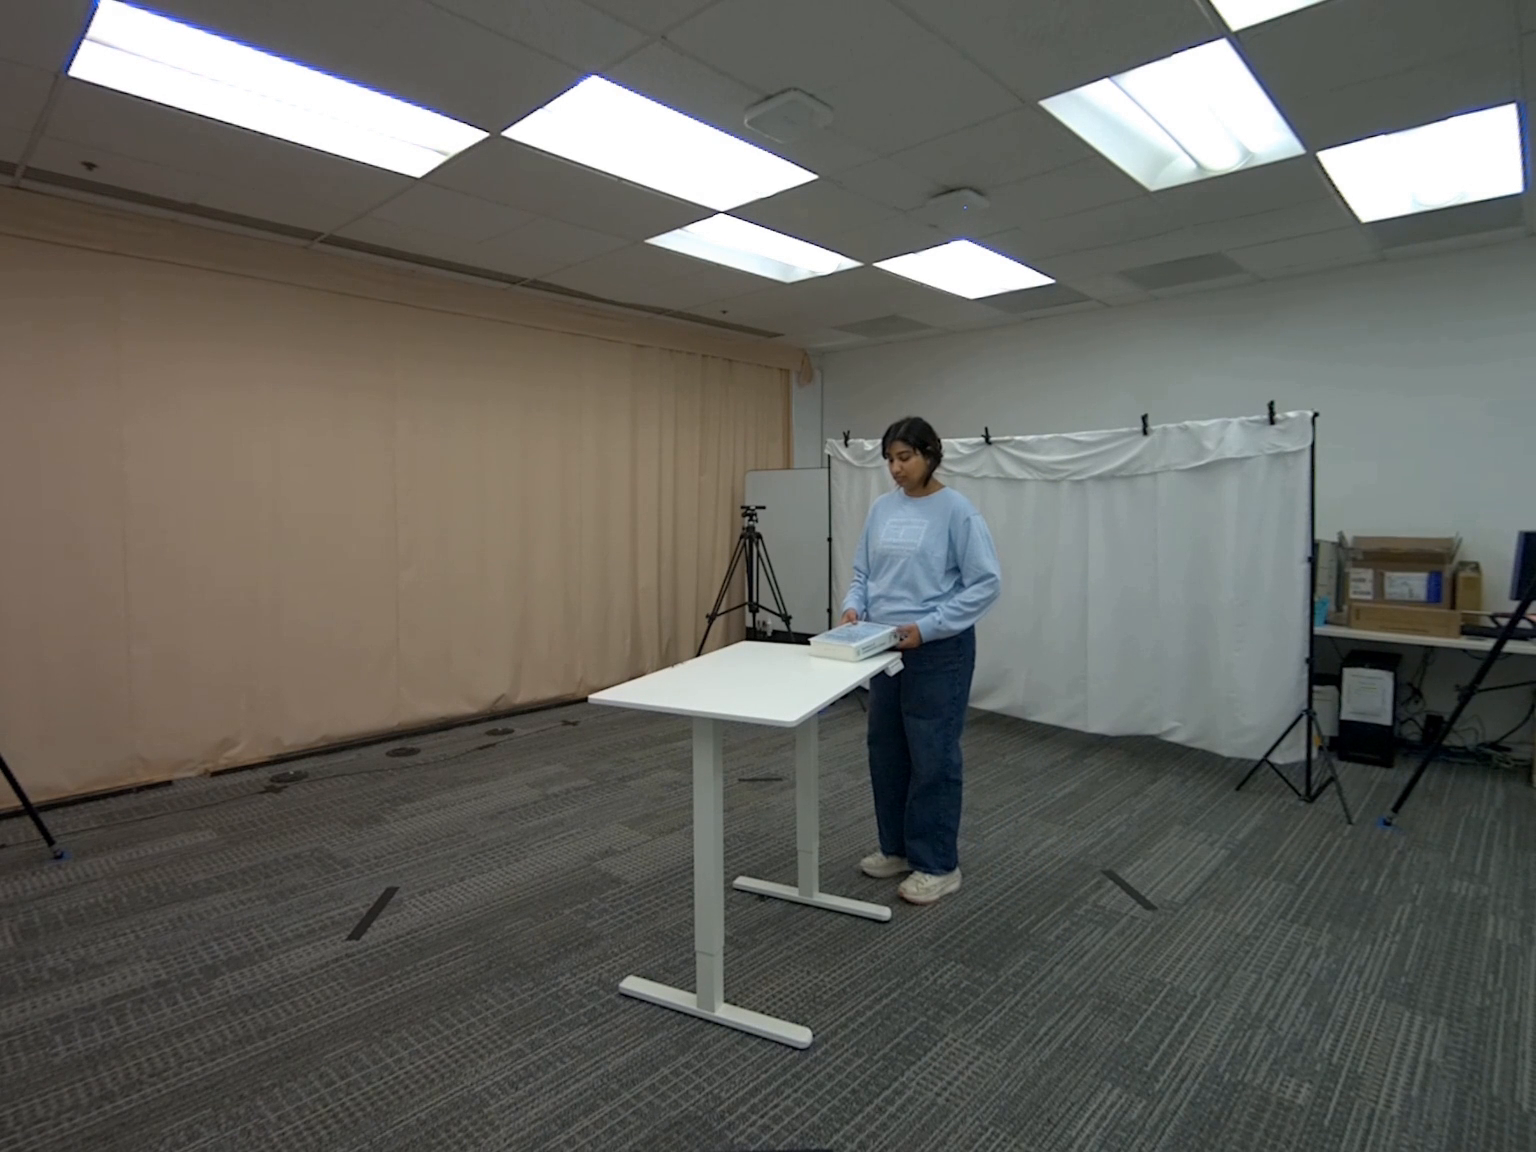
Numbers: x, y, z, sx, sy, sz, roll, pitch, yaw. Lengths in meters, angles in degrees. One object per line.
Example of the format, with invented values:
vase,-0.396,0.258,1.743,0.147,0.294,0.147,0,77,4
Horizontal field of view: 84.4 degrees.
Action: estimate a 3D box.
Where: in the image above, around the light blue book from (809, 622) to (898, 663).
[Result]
light blue book,0.284,0.228,2.861,0.254,0.058,0.198,-13,14,-43
